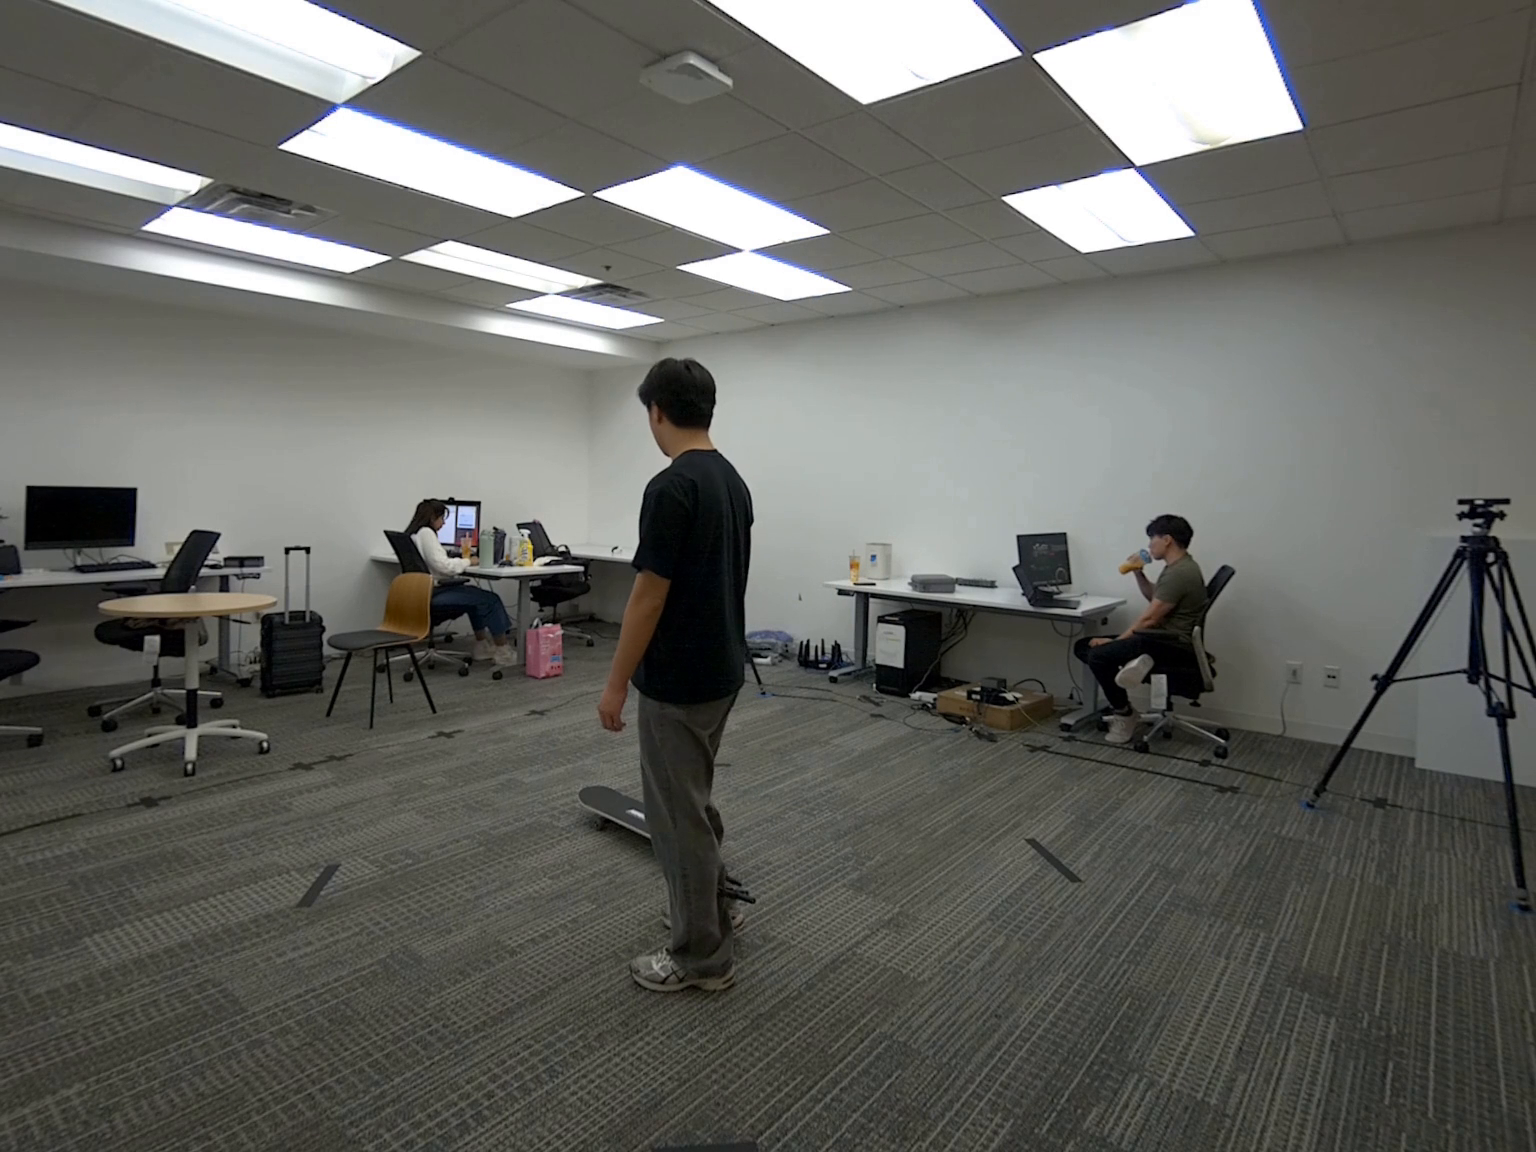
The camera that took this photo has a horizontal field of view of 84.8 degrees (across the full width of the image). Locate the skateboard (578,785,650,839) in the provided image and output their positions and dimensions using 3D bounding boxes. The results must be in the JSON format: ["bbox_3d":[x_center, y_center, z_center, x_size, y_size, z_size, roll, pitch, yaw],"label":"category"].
[{"bbox_3d":[-0.501,0.983,3.360,0.813,0.110,0.188,7,8,44],"label":"skateboard"}]
